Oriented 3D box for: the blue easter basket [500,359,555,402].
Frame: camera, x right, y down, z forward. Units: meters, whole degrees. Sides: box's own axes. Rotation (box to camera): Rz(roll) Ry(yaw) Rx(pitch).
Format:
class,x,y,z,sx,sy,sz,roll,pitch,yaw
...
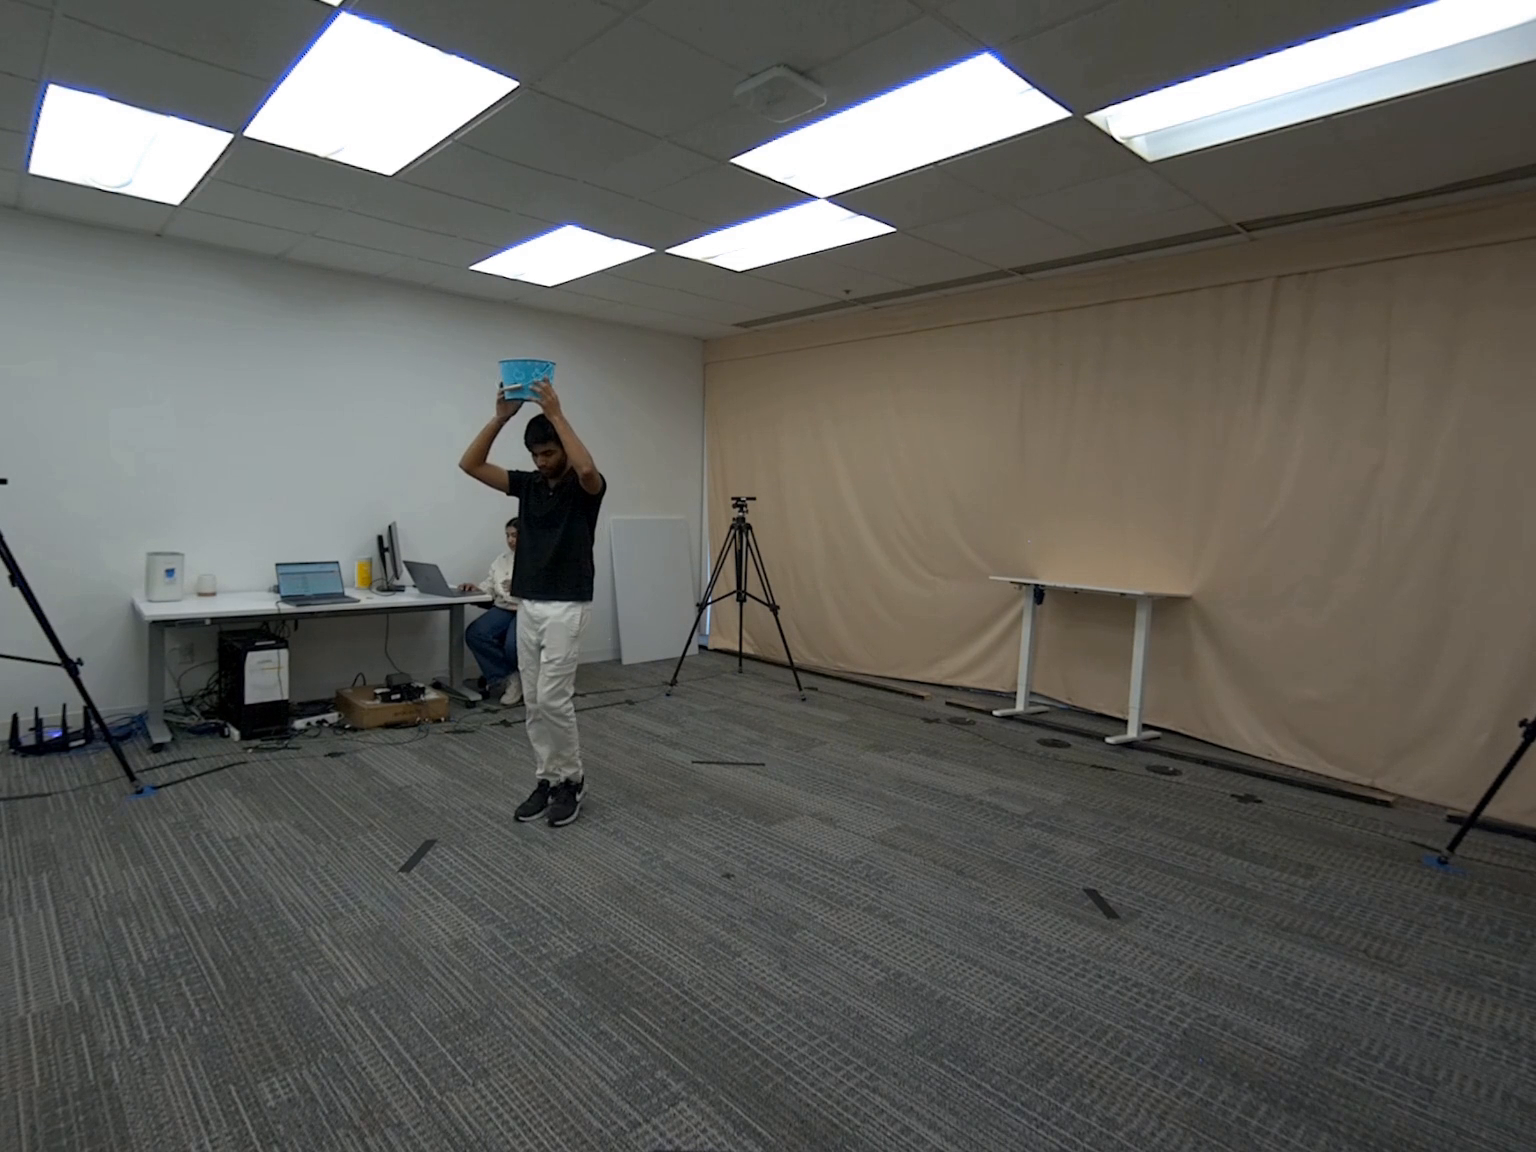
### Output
class,x,y,z,sx,sy,sz,roll,pitch,yaw
blue easter basket,-1.006,-0.811,3.477,0.243,0.155,0.244,0,4,-1
